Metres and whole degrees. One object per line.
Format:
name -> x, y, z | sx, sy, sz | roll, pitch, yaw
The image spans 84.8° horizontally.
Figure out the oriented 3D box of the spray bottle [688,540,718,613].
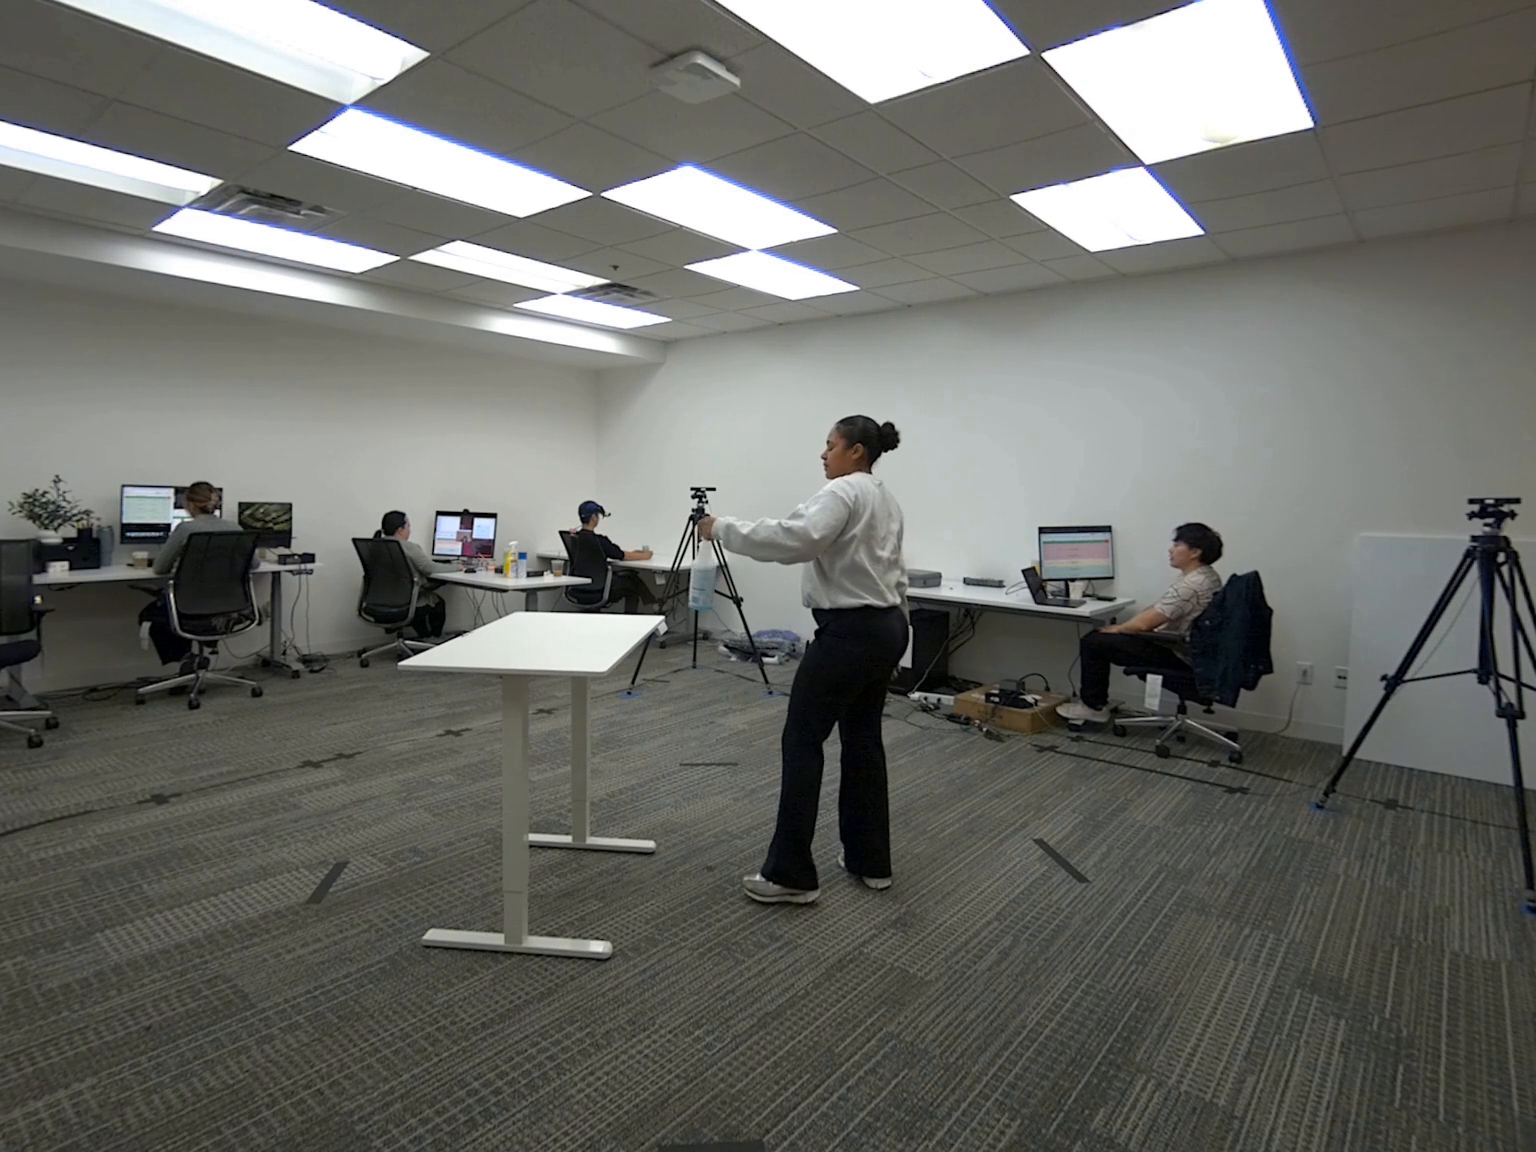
spray bottle -> -0.231, -0.016, 2.927 | 0.087, 0.295, 0.090 | 5, 9, 1
